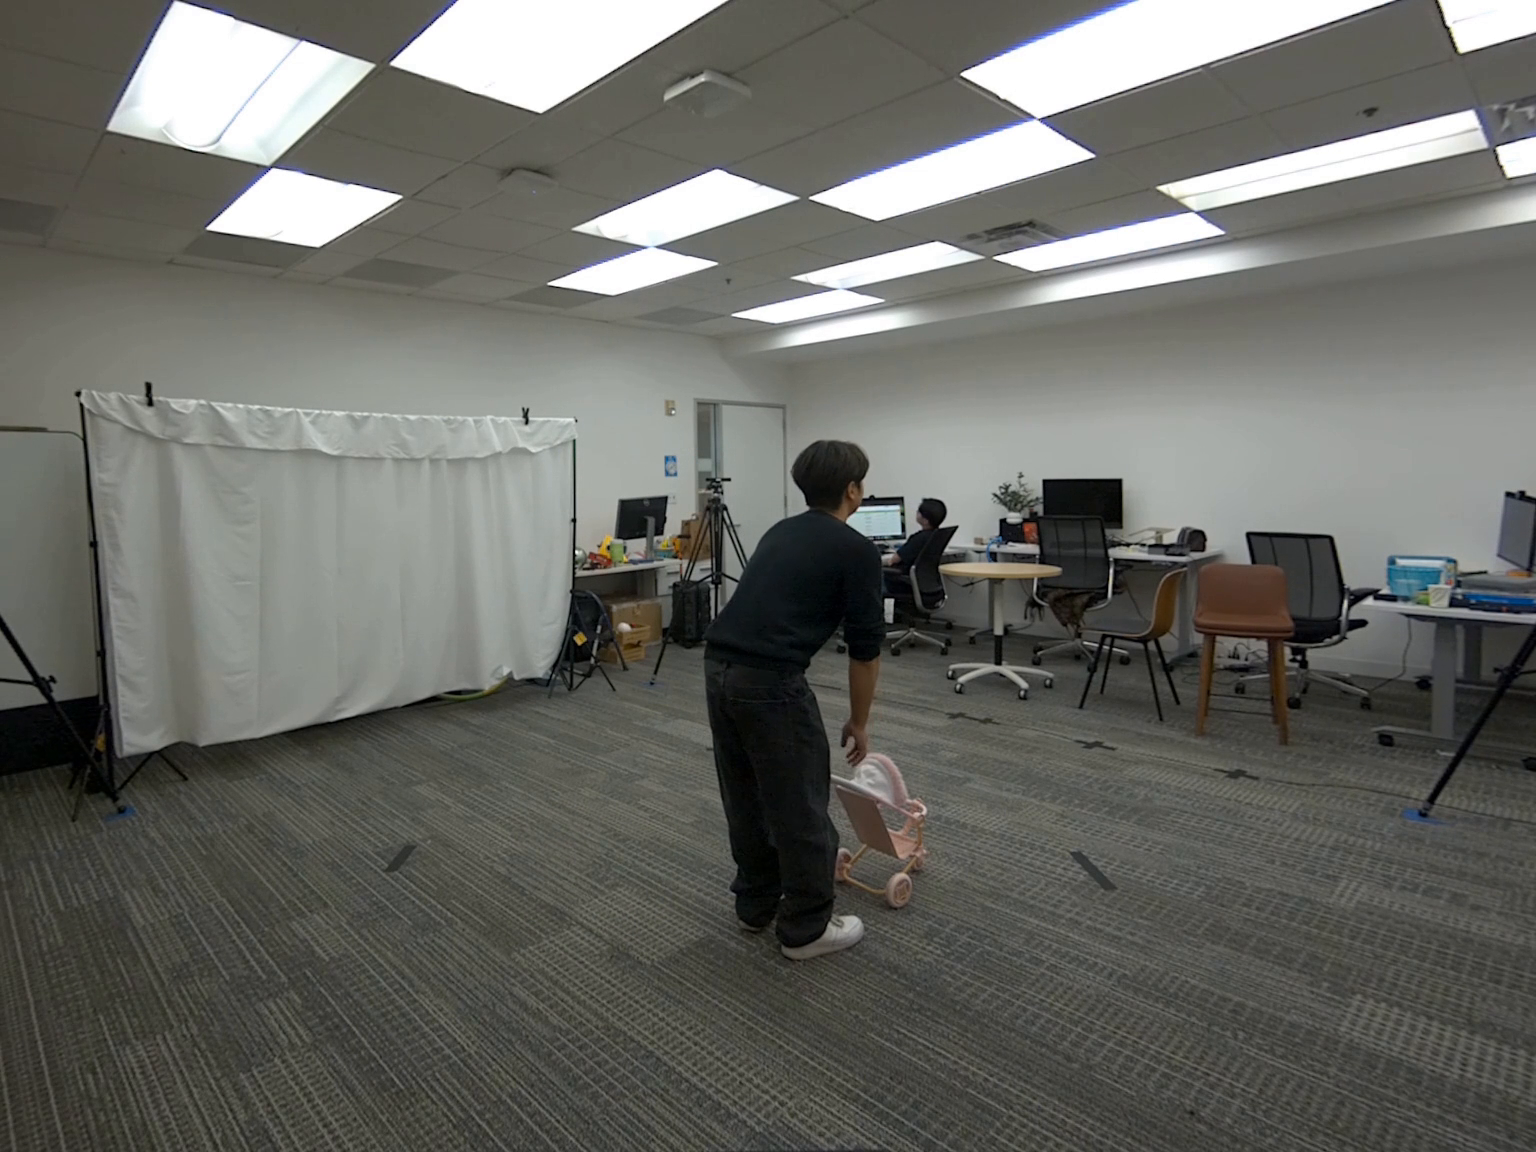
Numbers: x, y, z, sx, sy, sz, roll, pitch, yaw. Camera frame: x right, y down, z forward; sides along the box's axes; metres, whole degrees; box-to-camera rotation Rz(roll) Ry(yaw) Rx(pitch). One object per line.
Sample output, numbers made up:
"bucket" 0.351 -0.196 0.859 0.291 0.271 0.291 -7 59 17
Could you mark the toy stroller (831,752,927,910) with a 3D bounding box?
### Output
"toy stroller" 0.388 0.834 2.890 0.336 0.527 0.290 -23 16 -34
